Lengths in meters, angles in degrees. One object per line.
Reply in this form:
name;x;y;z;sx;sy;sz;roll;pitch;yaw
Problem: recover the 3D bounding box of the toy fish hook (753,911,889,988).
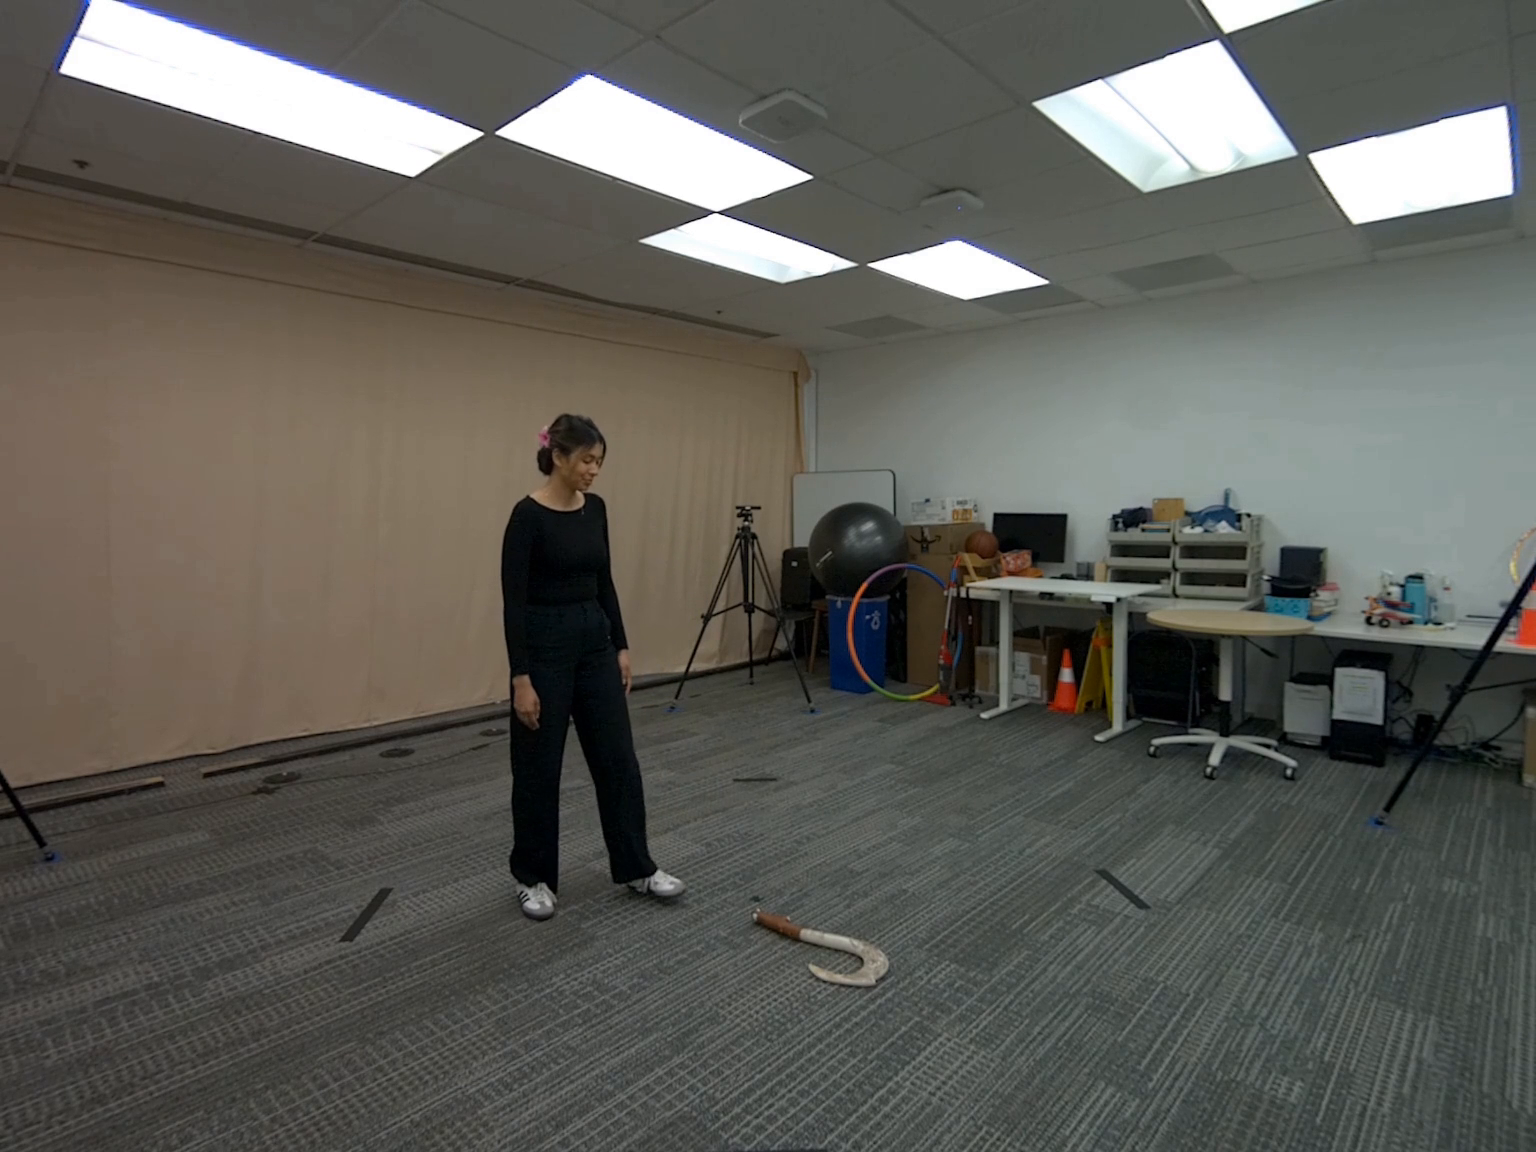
toy fish hook;0.133;1.154;2.619;0.523;0.048;0.218;3;5;37
